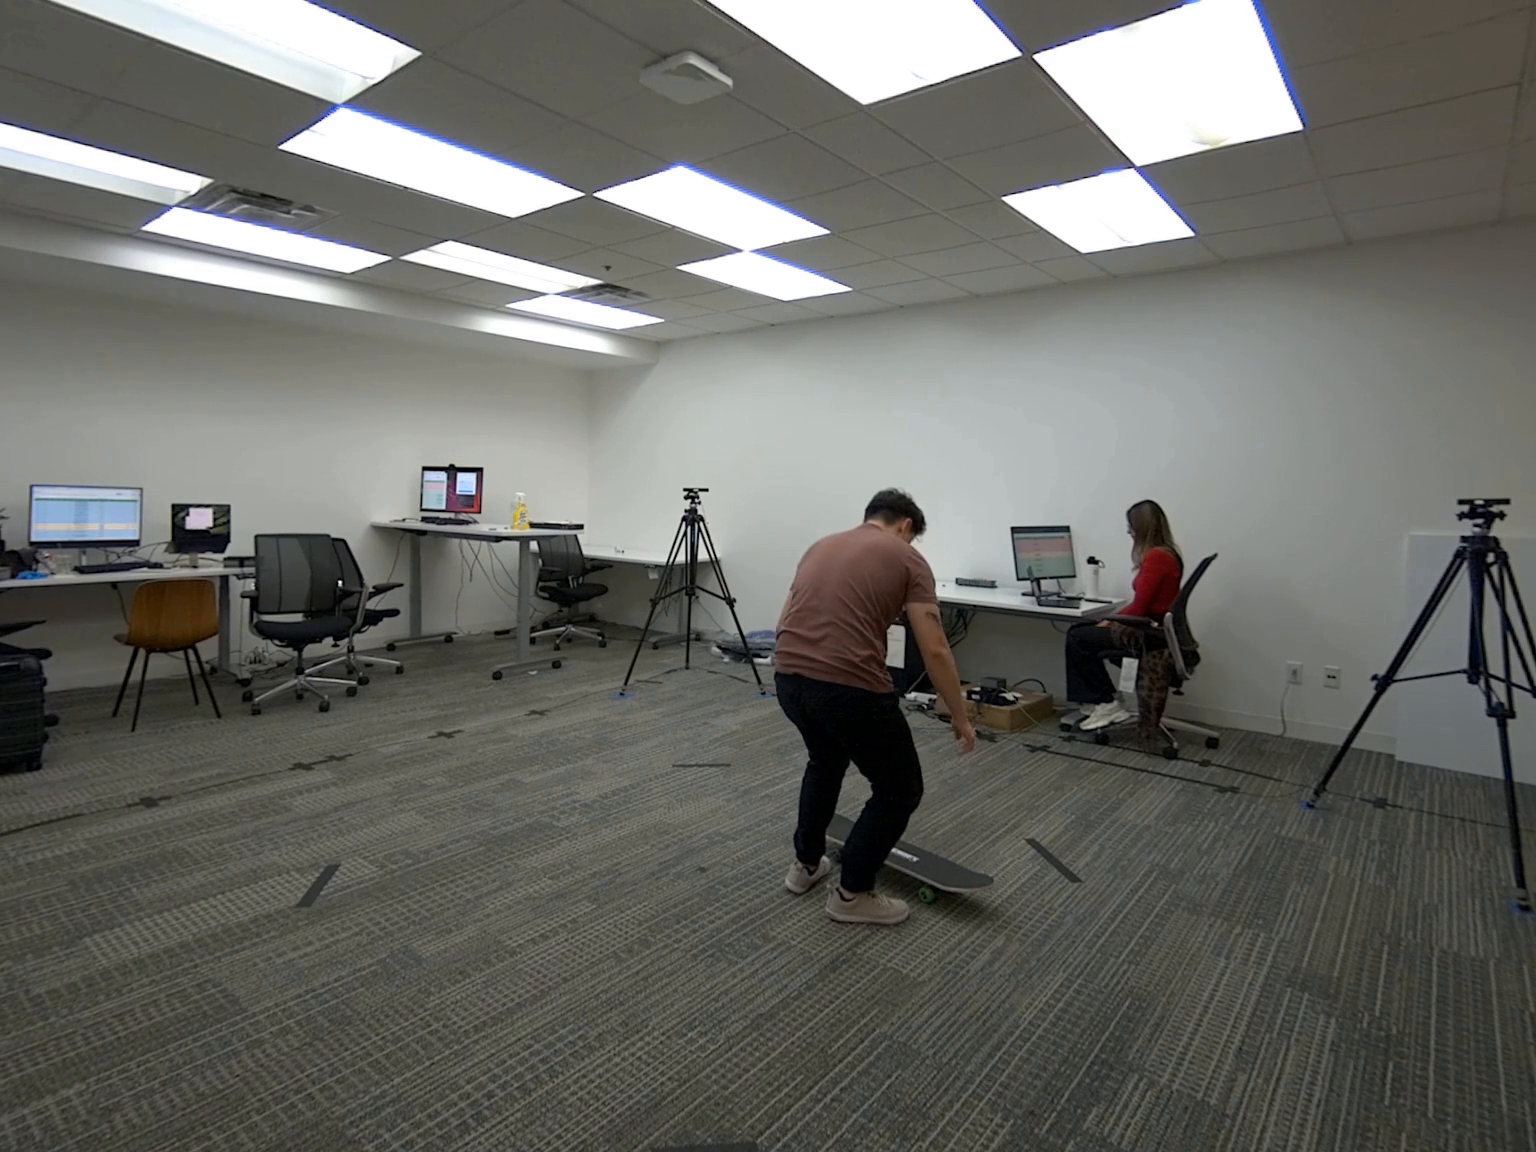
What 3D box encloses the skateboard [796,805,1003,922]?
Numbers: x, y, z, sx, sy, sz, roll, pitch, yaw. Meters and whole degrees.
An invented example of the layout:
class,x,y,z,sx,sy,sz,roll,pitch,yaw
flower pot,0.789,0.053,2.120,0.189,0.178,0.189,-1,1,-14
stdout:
class,x,y,z,sx,sy,sz,roll,pitch,yaw
skateboard,0.452,1.025,3.091,0.187,0.110,0.813,-1,6,-42
